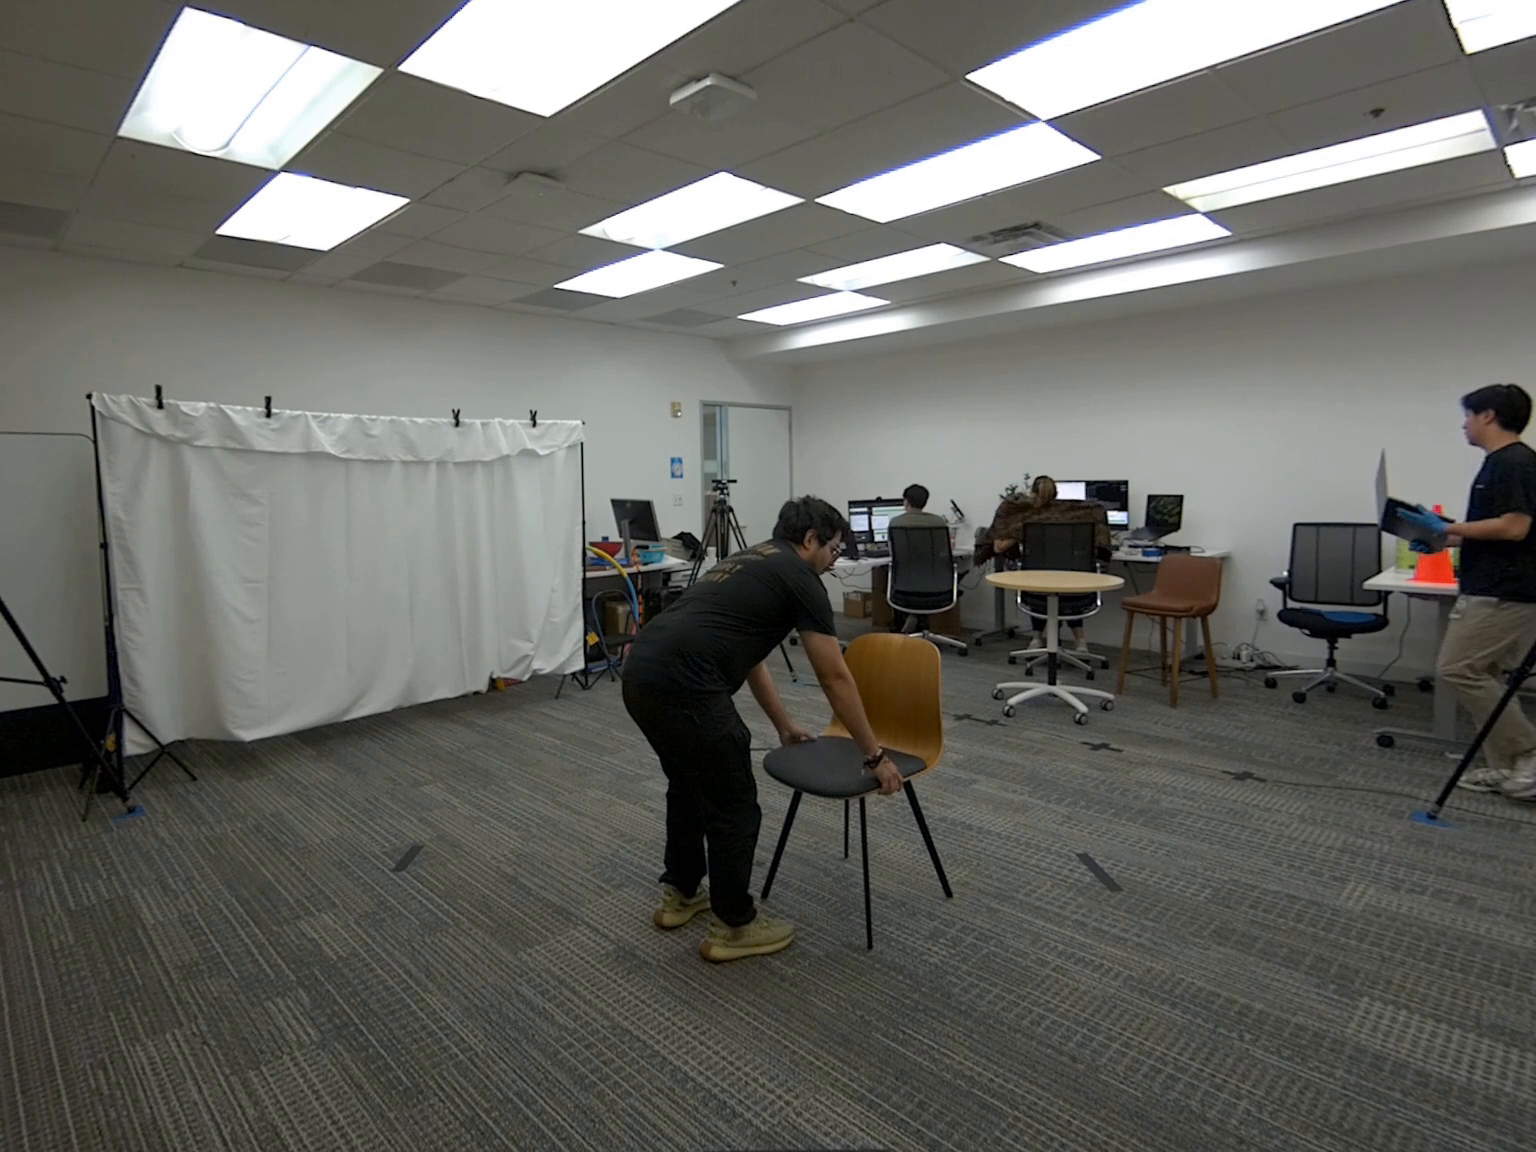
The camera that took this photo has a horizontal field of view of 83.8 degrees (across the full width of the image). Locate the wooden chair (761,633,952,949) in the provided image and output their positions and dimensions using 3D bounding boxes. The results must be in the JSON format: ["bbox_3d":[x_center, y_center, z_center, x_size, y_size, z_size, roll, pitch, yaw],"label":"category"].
[{"bbox_3d":[0.270,0.642,2.808,0.508,0.877,0.493,1,2,-44],"label":"wooden chair"}]
